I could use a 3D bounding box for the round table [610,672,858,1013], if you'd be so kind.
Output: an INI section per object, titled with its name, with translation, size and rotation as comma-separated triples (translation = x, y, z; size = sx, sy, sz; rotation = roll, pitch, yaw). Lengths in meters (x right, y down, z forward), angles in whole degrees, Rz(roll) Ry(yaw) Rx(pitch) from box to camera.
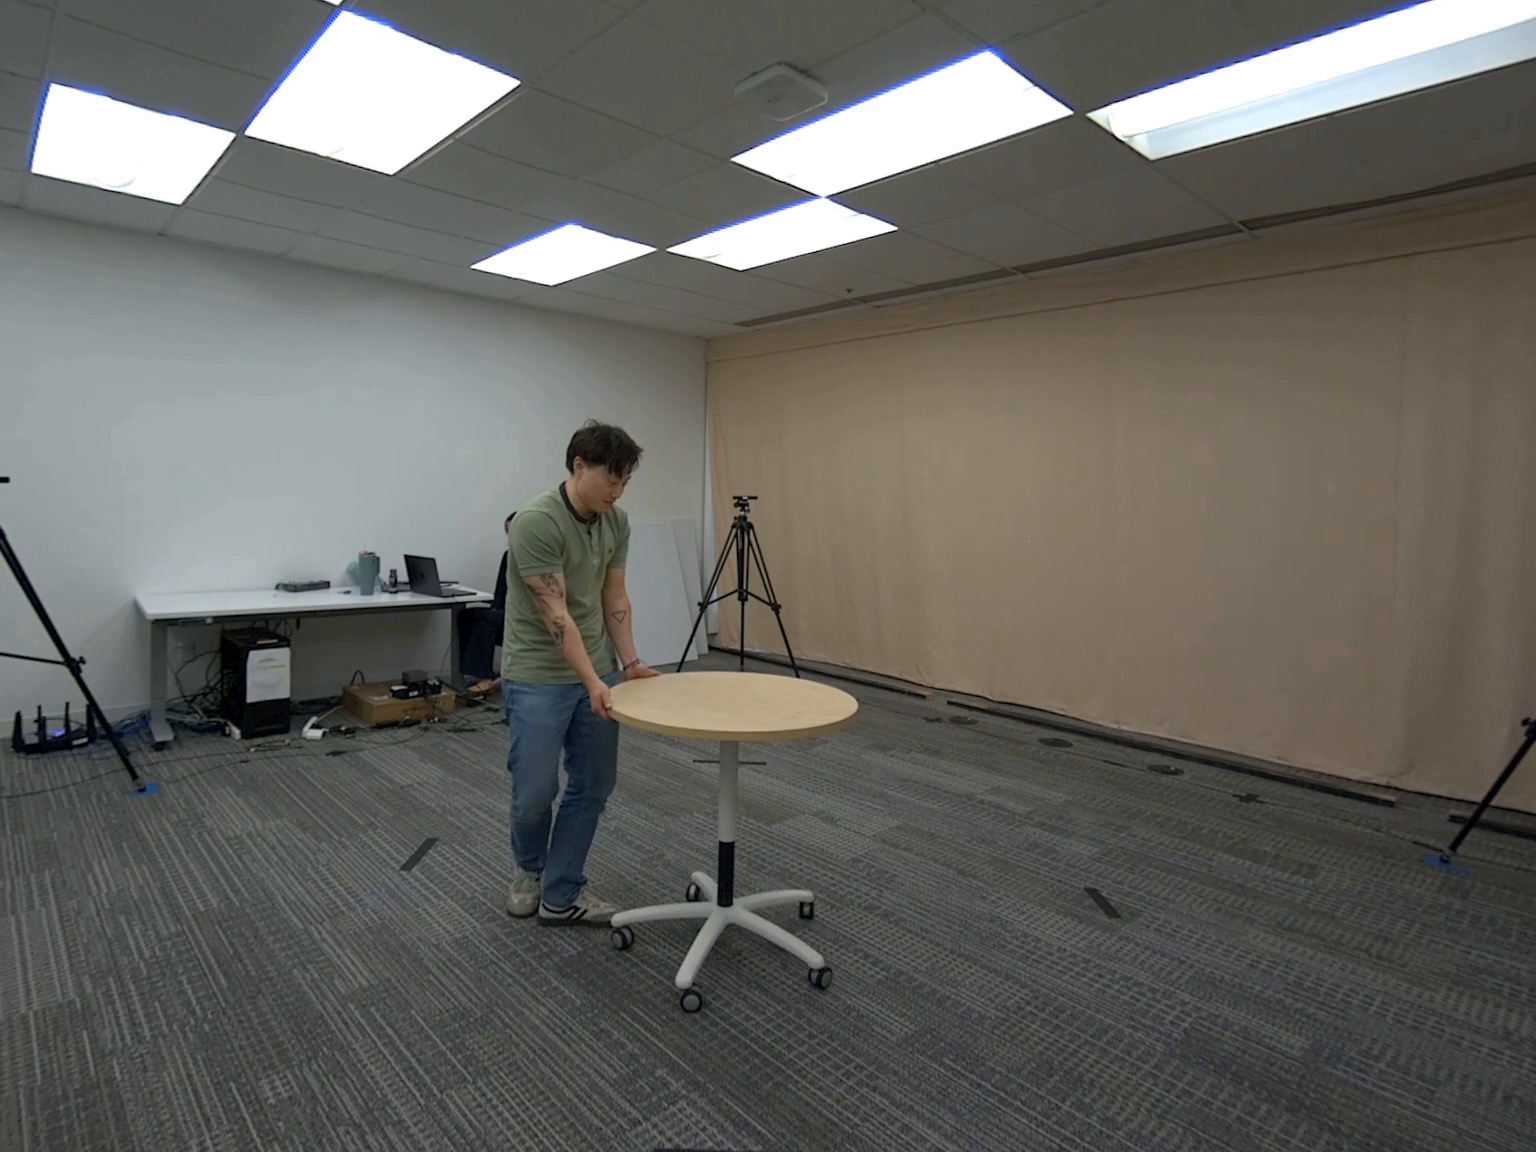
[round table]
translation = -0.127, 0.763, 2.568
size = 0.763, 0.792, 0.766
rotation = 1, 4, -1
